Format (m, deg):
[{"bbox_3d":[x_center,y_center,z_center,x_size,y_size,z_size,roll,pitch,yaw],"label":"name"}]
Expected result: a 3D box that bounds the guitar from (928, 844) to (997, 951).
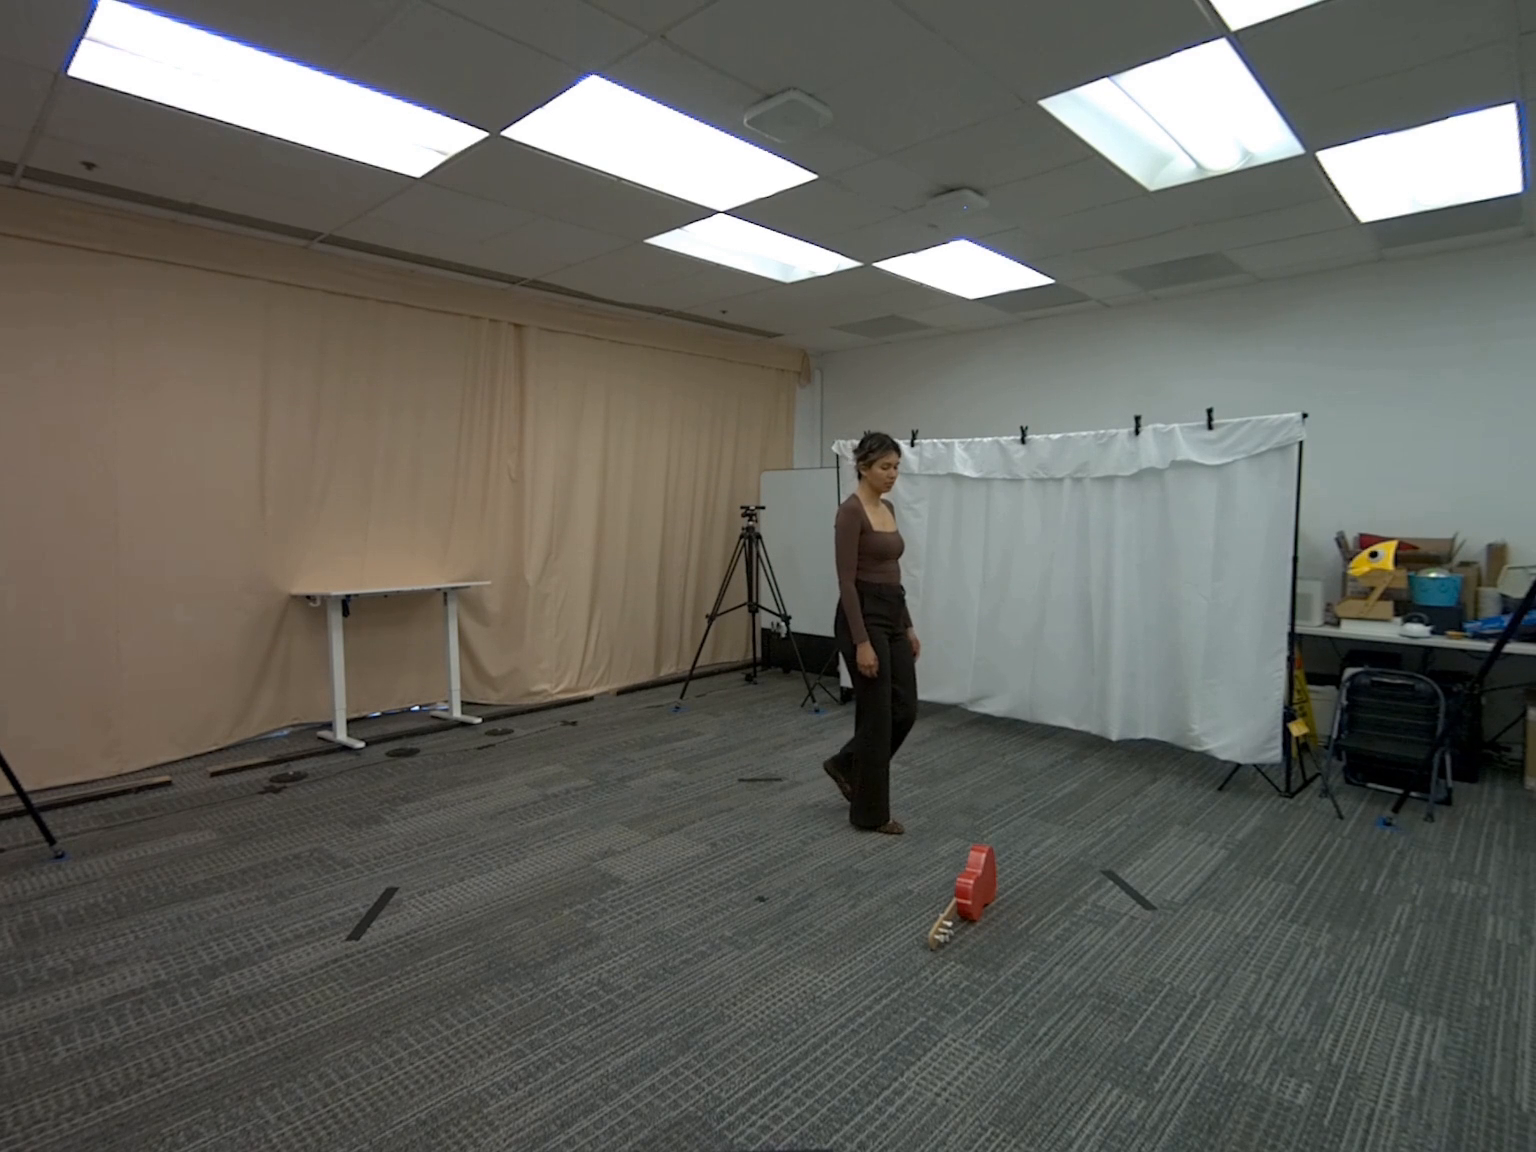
[{"bbox_3d":[0.659,1.111,2.818,0.073,0.190,0.490,-1,22,33],"label":"guitar"}]
